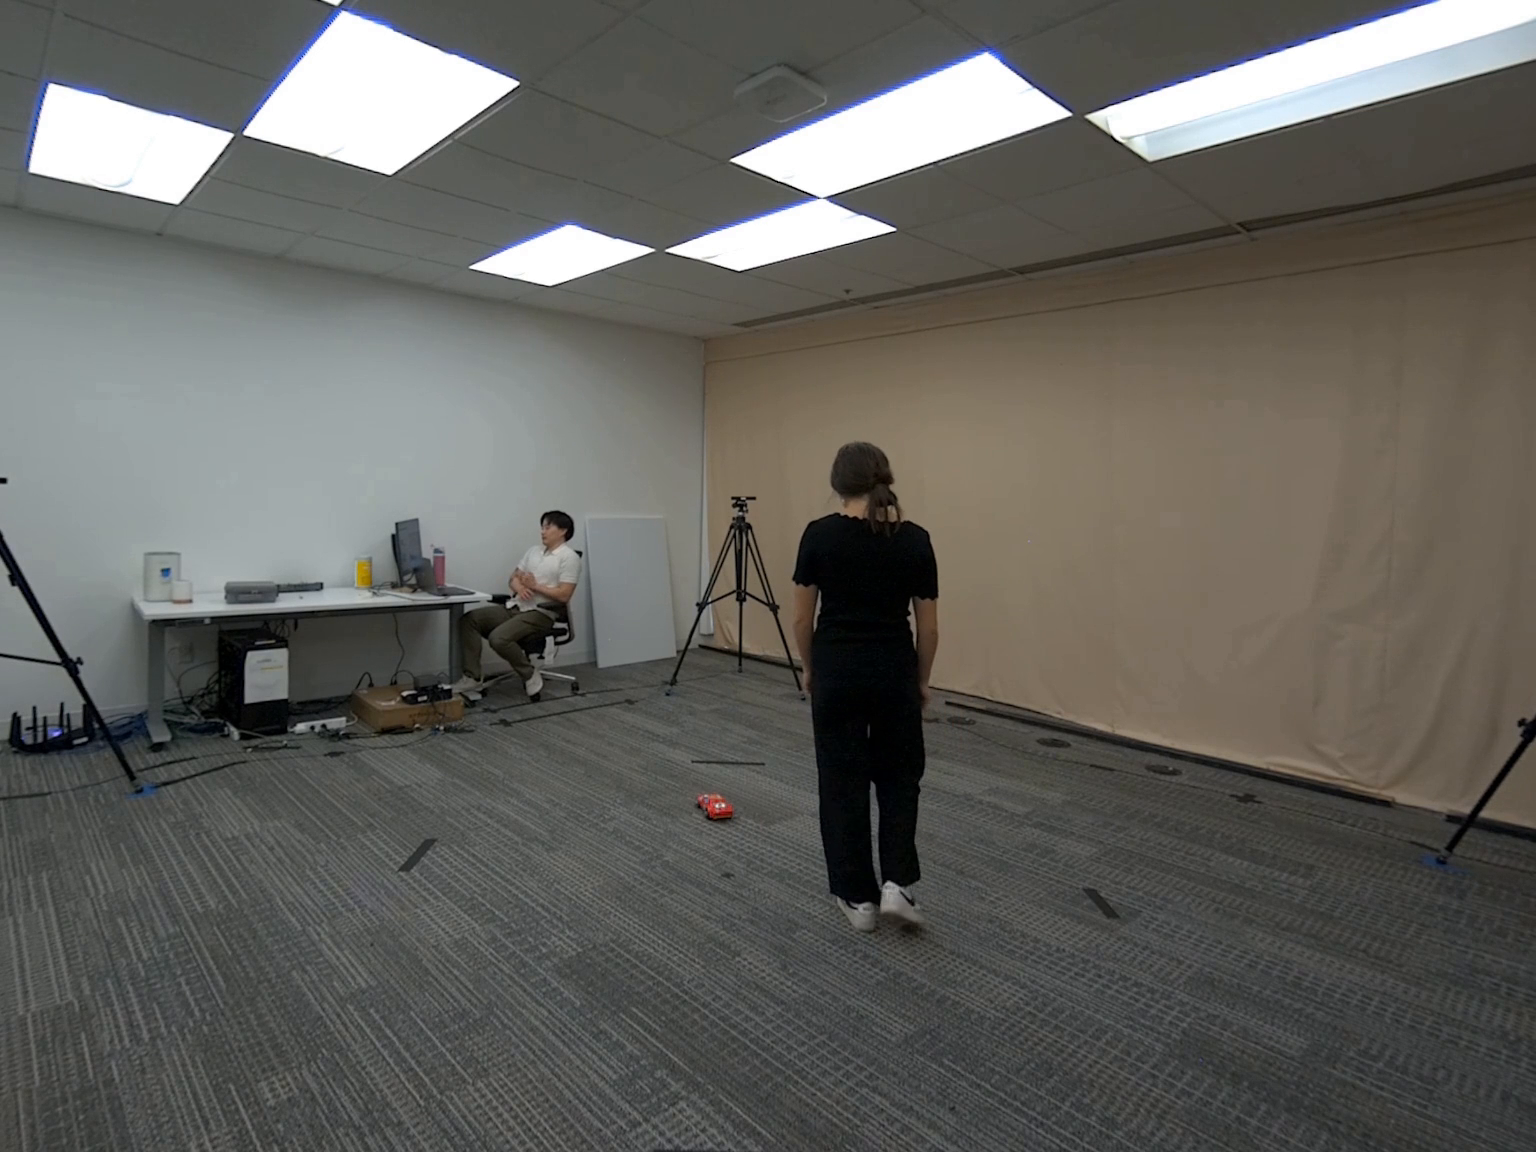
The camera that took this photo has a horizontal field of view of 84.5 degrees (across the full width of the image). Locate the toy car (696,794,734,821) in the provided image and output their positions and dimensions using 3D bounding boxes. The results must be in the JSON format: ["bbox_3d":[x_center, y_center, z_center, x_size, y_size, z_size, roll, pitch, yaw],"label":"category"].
[{"bbox_3d":[-0.242,1.019,3.718,0.128,0.083,0.257,1,-5,-20],"label":"toy car"}]
